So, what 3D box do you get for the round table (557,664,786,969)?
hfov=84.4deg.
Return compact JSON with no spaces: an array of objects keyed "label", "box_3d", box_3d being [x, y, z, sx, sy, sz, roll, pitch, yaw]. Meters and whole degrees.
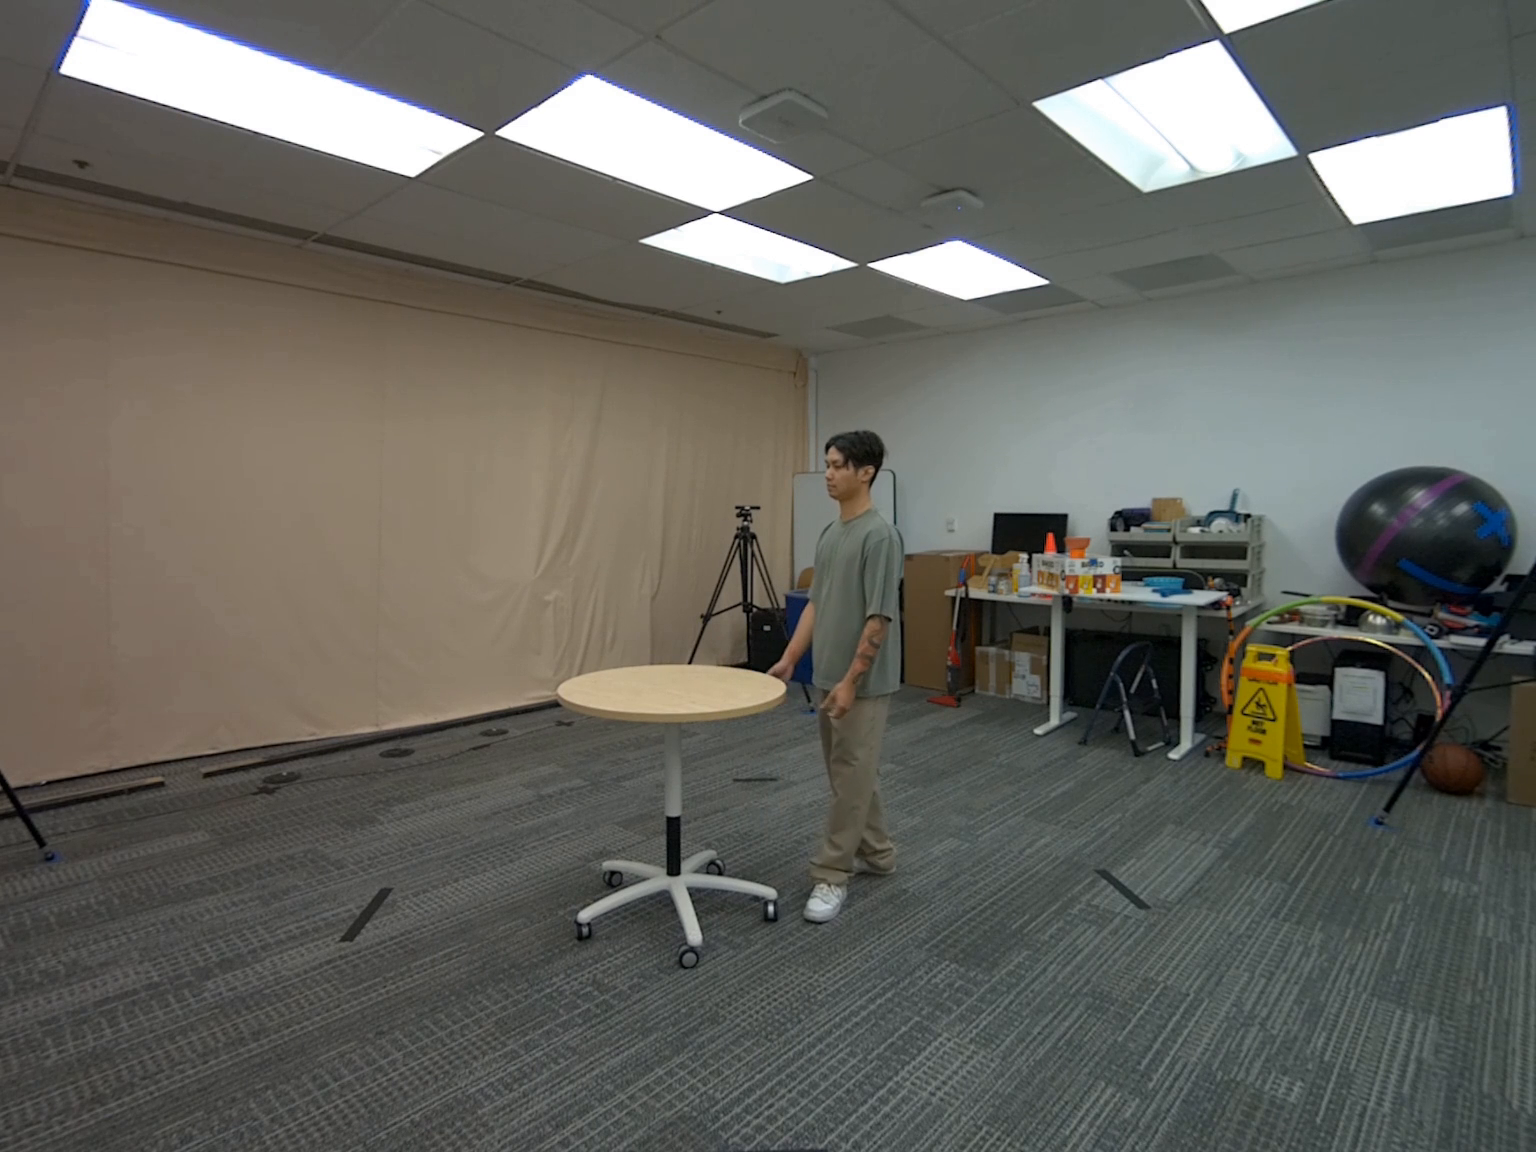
[{"label":"round table","box_3d":[-0.337,0.766,2.858,0.784,0.785,0.787,1,3,-2]}]
